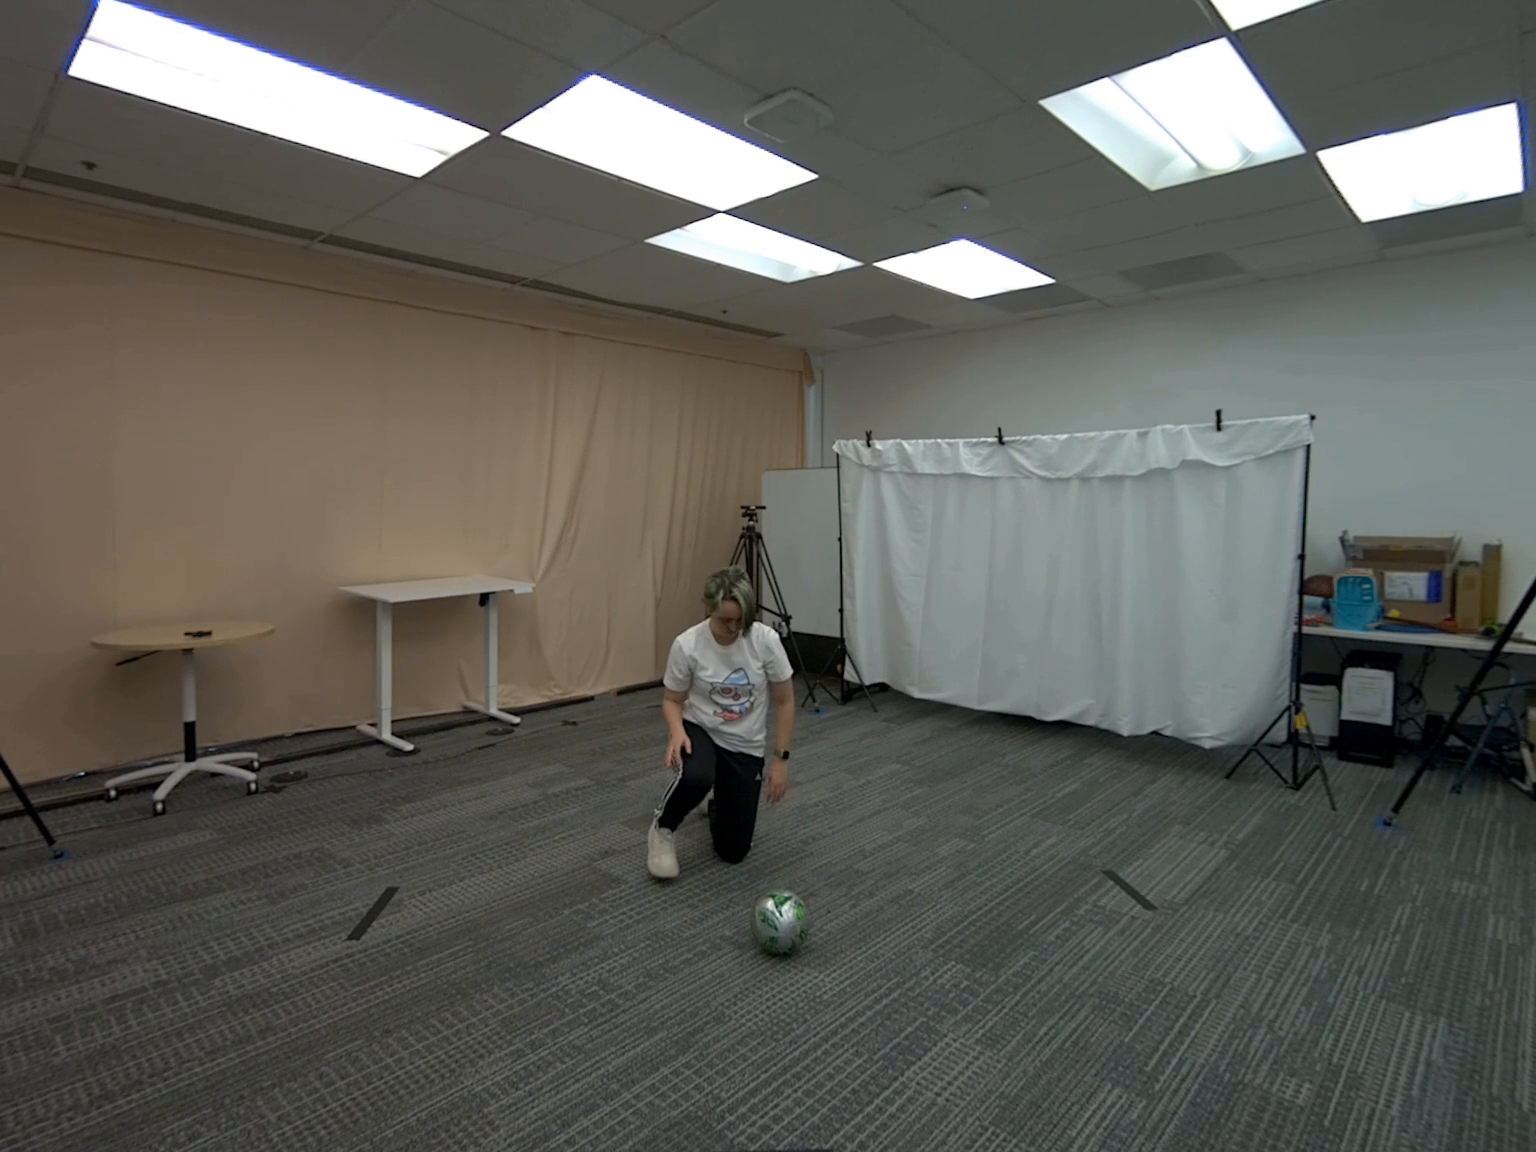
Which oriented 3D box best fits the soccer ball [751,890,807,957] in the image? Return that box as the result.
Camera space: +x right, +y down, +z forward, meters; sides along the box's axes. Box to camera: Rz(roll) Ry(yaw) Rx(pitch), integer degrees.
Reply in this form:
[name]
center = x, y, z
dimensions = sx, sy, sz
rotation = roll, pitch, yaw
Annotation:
[soccer ball]
center = 0.037, 1.076, 2.633
dimensions = 0.187, 0.187, 0.188
rotation = 0, 4, -2
